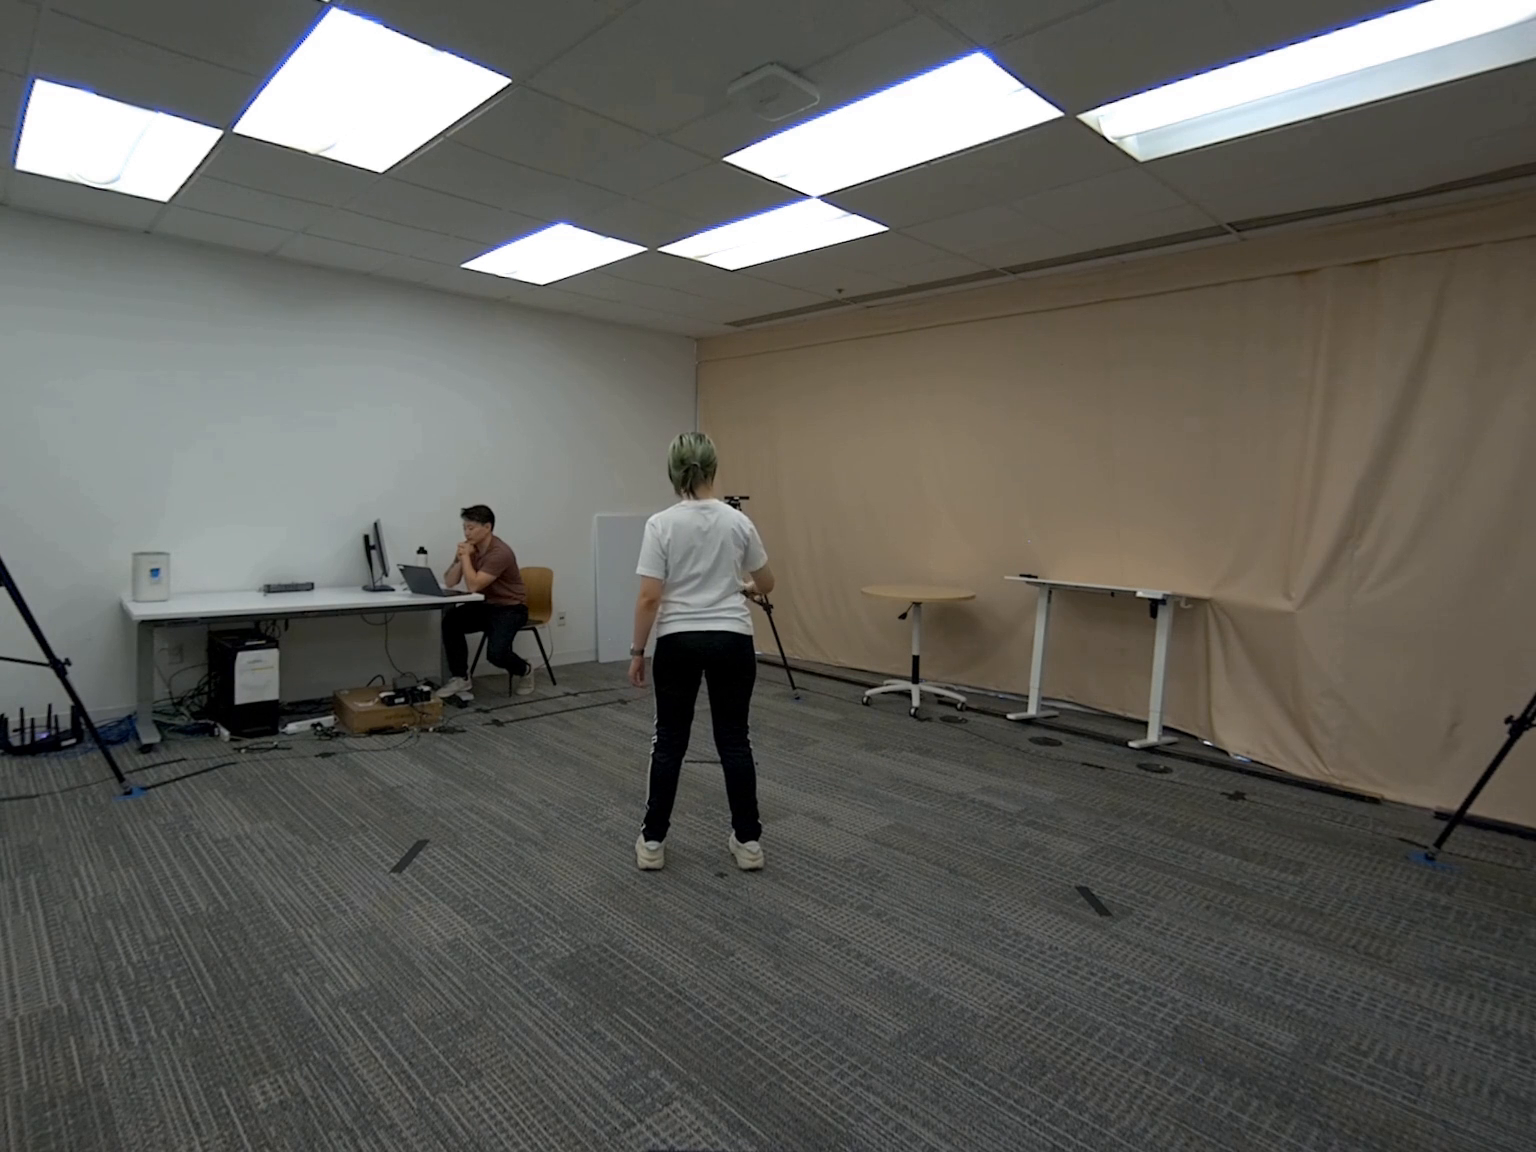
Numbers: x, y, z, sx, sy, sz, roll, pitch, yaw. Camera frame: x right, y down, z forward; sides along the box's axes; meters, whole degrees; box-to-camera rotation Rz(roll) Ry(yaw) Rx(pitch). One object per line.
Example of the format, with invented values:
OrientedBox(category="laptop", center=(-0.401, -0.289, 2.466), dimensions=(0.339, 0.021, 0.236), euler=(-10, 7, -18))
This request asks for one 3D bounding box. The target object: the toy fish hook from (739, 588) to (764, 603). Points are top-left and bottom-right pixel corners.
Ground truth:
OrientedBox(category="toy fish hook", center=(-0.135, 0.040, 3.799), dimensions=(0.218, 0.048, 0.522), euler=(47, -3, -34))
